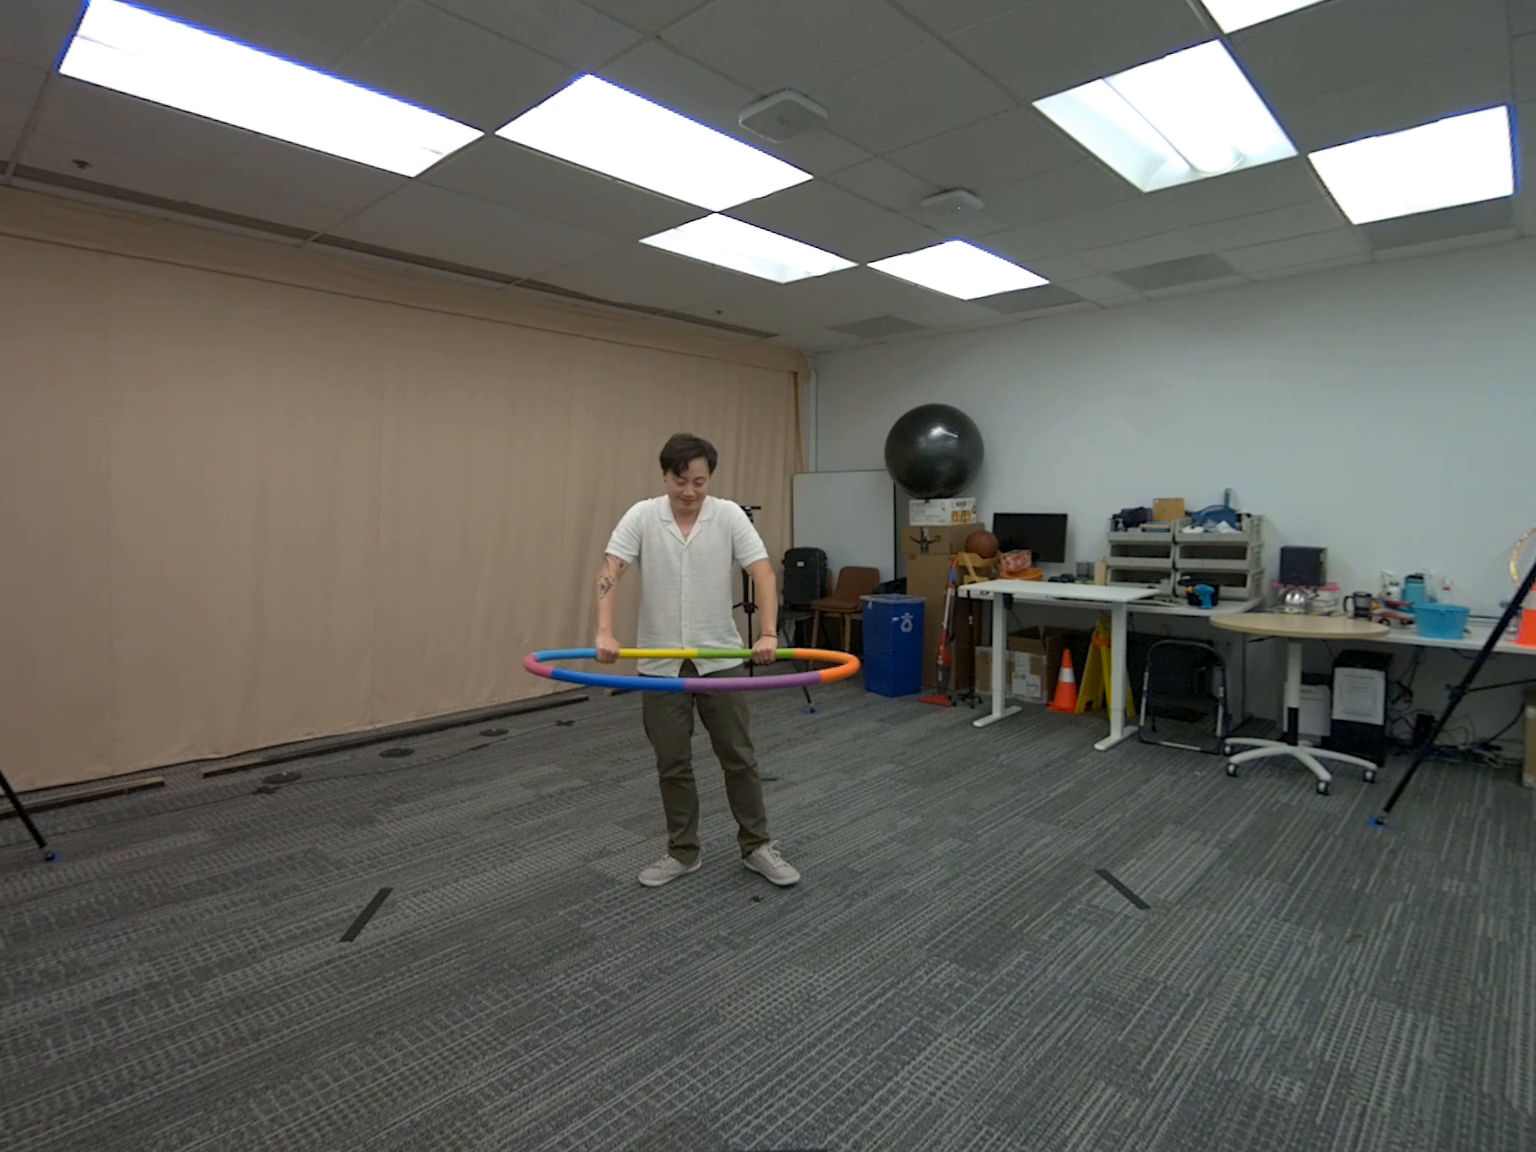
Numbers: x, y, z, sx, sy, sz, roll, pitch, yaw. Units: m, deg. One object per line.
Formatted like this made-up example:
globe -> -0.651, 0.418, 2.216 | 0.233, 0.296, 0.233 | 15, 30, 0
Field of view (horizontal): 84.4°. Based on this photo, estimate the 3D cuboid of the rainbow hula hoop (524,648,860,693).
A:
rainbow hula hoop -> -0.236, 0.263, 2.509 | 0.978, 0.035, 0.979 | 1, -1, -2
